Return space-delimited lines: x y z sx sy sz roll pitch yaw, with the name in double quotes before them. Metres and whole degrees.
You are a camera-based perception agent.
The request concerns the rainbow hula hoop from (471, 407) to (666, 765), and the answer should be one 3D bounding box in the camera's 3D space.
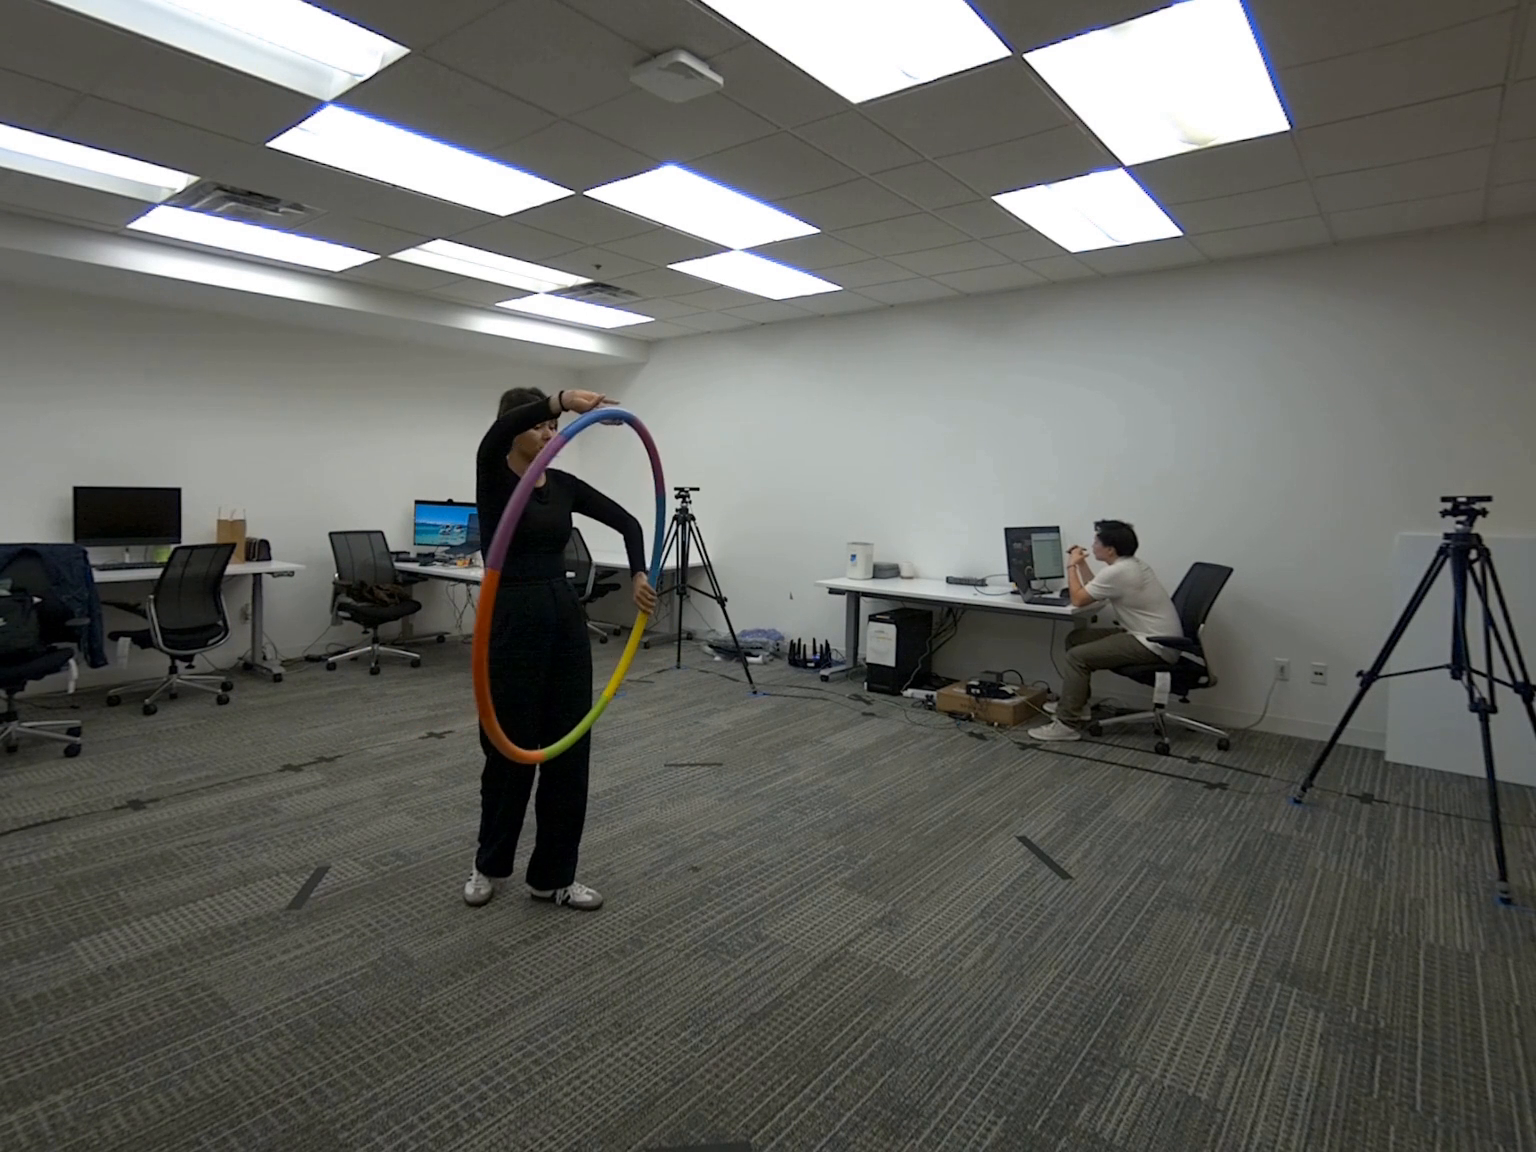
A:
"rainbow hula hoop" -0.510 0.029 2.353 0.053 0.980 0.968 14 8 17
